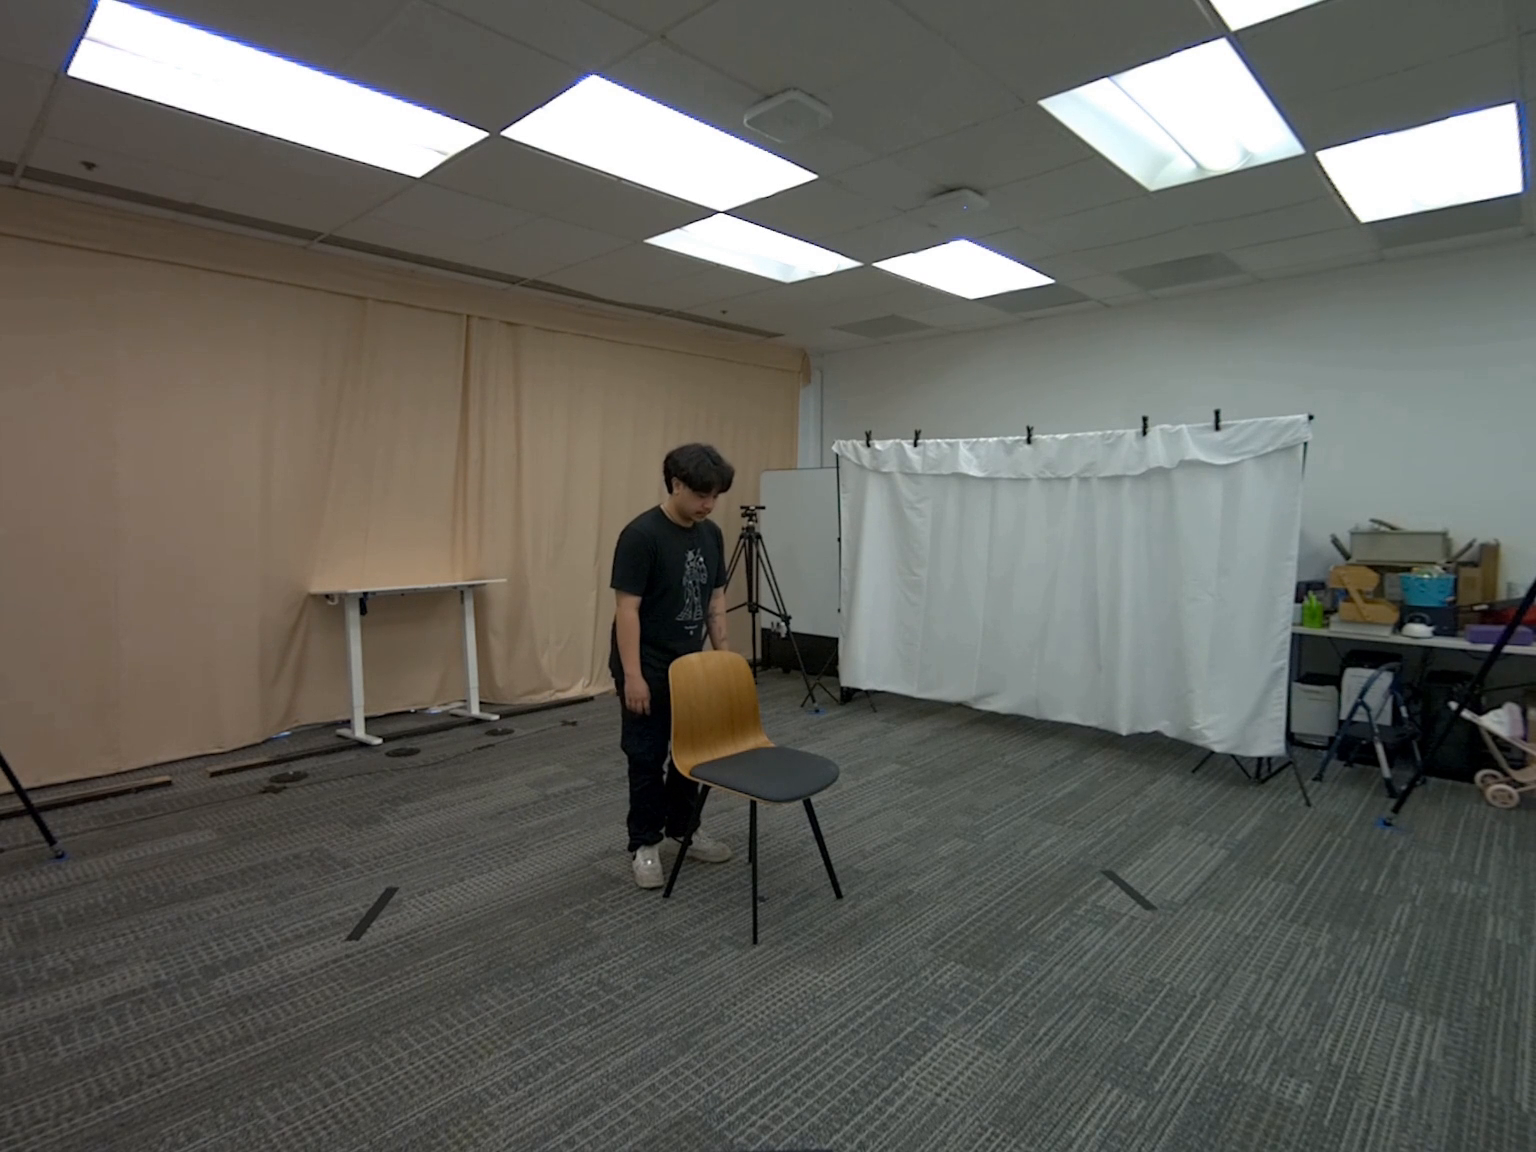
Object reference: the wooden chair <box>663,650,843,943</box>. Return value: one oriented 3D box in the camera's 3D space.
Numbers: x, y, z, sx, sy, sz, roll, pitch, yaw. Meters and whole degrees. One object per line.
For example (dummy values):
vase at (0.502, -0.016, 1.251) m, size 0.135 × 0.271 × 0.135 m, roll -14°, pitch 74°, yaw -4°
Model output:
wooden chair at (-0.045, 0.722, 2.950) m, size 0.539 × 0.877 × 0.463 m, roll -3°, pitch 0°, yaw 44°
